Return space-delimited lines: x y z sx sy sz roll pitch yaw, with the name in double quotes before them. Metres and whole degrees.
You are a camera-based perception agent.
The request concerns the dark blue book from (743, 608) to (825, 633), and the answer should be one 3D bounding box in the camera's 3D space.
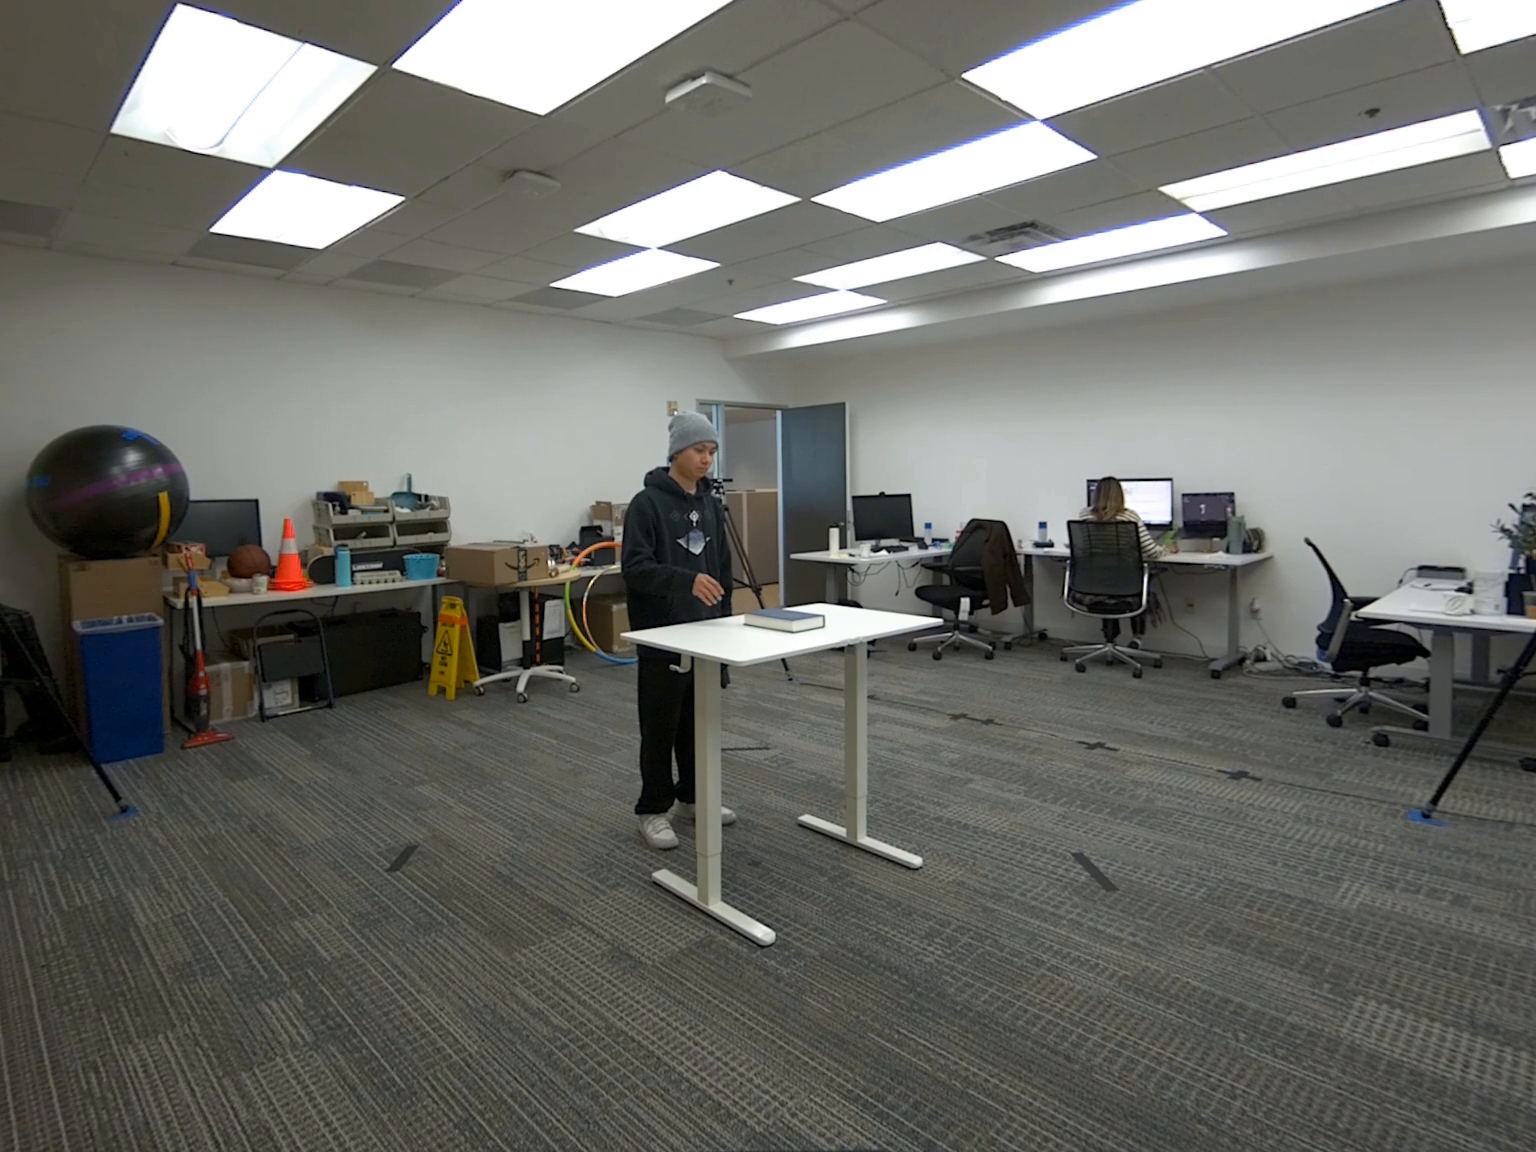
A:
"dark blue book" 0.066 0.157 2.975 0.159 0.045 0.253 -6 8 -43
